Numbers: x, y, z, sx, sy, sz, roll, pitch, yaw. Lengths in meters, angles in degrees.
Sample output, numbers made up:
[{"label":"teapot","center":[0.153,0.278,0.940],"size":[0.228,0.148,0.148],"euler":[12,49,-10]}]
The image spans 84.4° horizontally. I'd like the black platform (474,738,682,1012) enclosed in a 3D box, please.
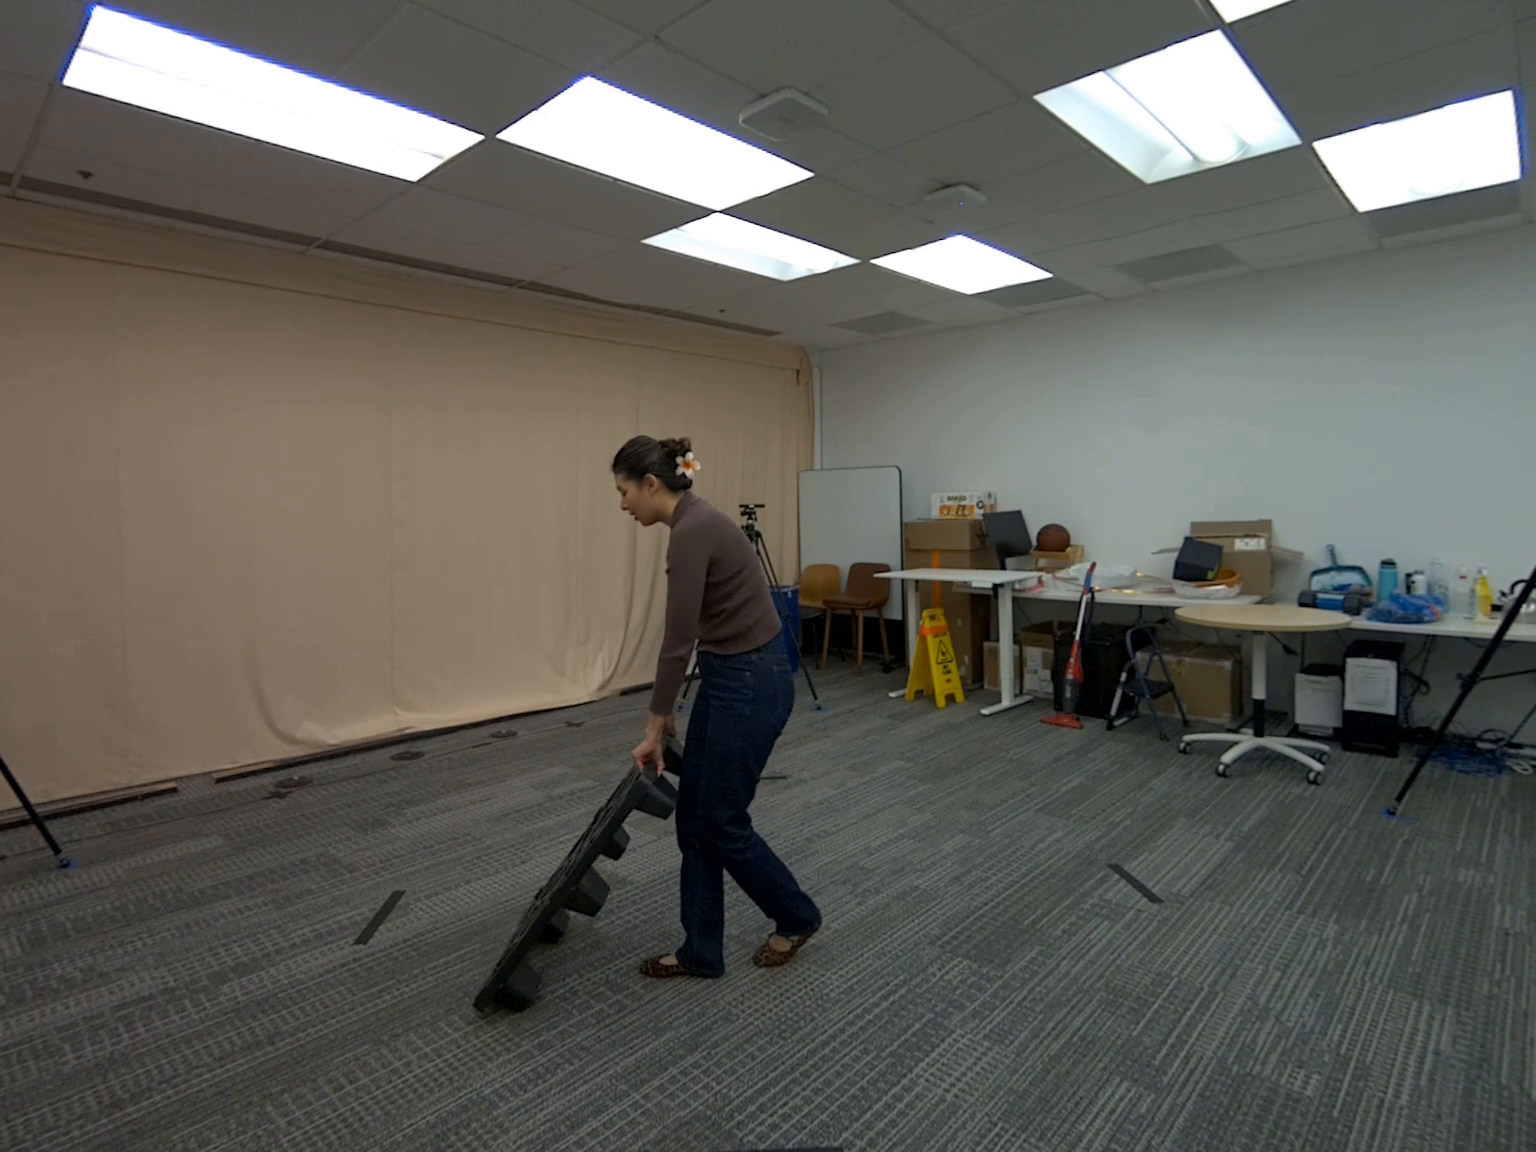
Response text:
[{"label":"black platform","center":[-0.518,0.858,2.522],"size":[0.143,0.806,0.605],"euler":[36,4,-3]}]
